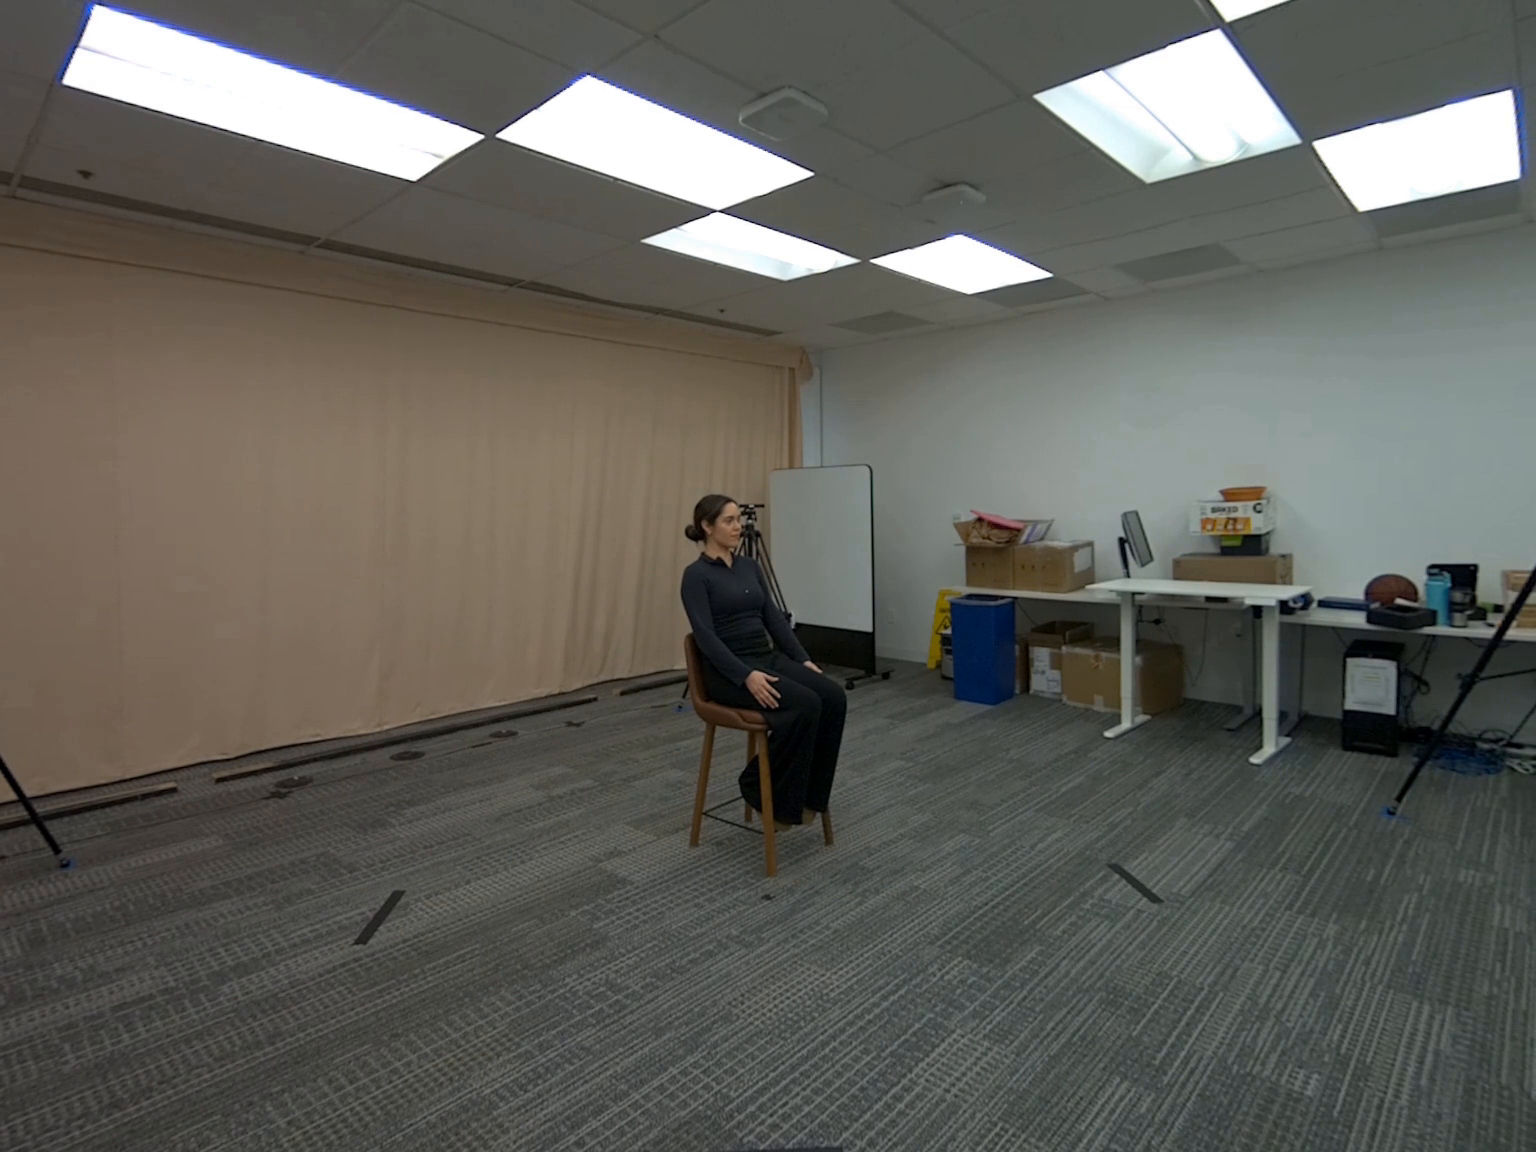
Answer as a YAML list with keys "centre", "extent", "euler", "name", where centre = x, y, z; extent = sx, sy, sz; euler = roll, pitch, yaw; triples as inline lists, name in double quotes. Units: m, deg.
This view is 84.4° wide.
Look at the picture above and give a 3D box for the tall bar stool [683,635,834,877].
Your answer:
- centre: [-0.046, 0.666, 3.431]
  extent: [0.482, 0.889, 0.443]
  euler: [-1, 2, 41]
  name: "tall bar stool"
